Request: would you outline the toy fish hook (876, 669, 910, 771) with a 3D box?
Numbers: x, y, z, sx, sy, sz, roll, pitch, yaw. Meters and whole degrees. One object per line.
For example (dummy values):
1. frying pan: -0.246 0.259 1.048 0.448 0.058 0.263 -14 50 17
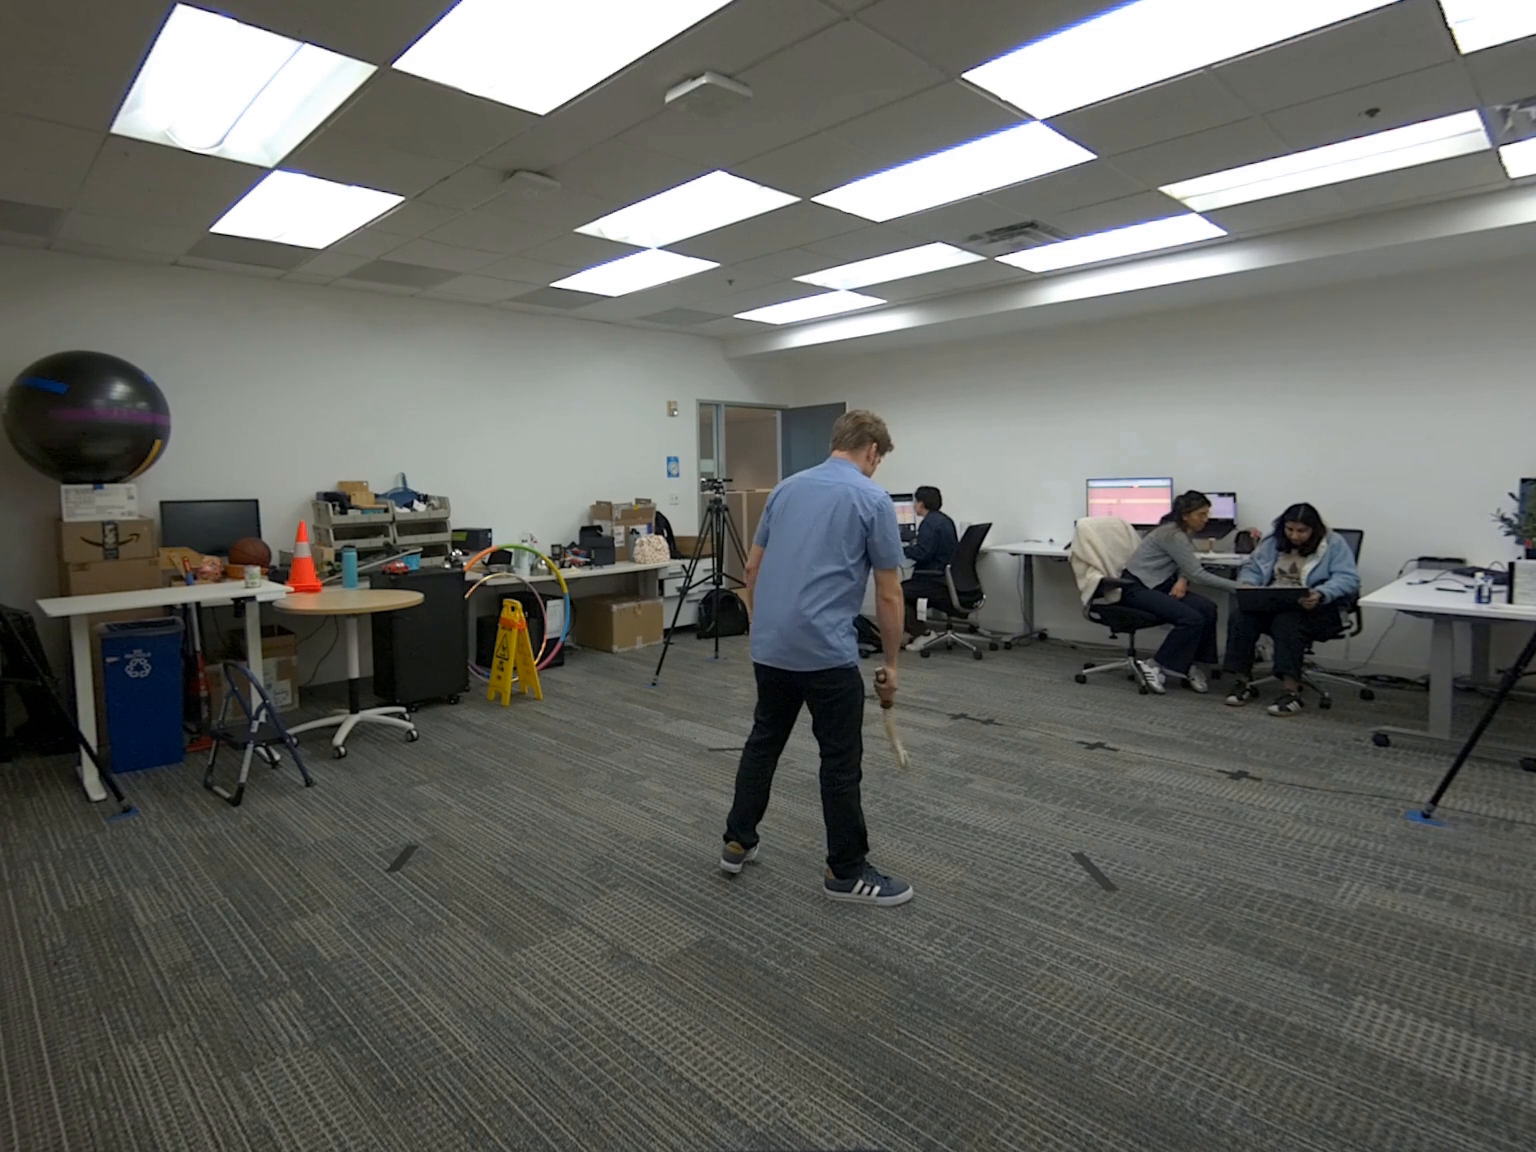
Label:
1. toy fish hook: 0.446 0.515 2.997 0.048 0.489 0.232 -20 45 1
